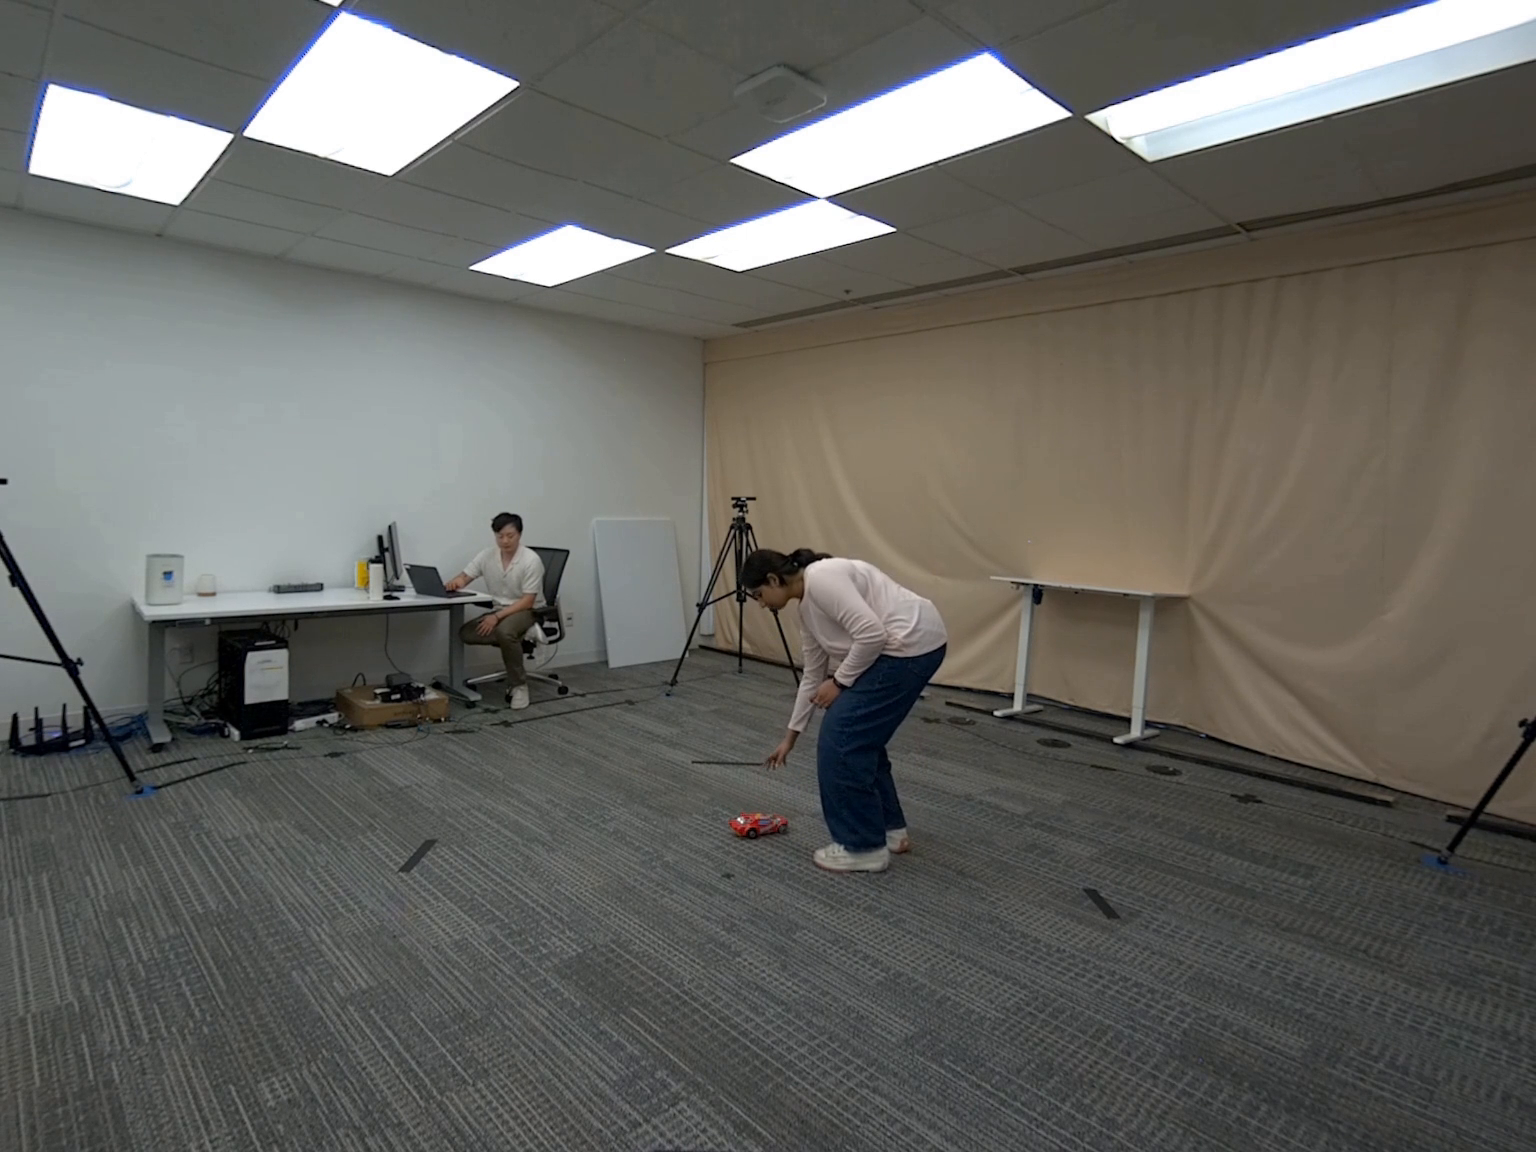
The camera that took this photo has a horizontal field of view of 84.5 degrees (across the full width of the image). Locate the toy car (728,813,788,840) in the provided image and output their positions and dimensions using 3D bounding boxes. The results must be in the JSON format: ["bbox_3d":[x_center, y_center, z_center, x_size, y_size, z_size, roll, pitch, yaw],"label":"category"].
[{"bbox_3d":[-0.057,1.041,3.521,0.249,0.083,0.133,13,-1,-27],"label":"toy car"}]
